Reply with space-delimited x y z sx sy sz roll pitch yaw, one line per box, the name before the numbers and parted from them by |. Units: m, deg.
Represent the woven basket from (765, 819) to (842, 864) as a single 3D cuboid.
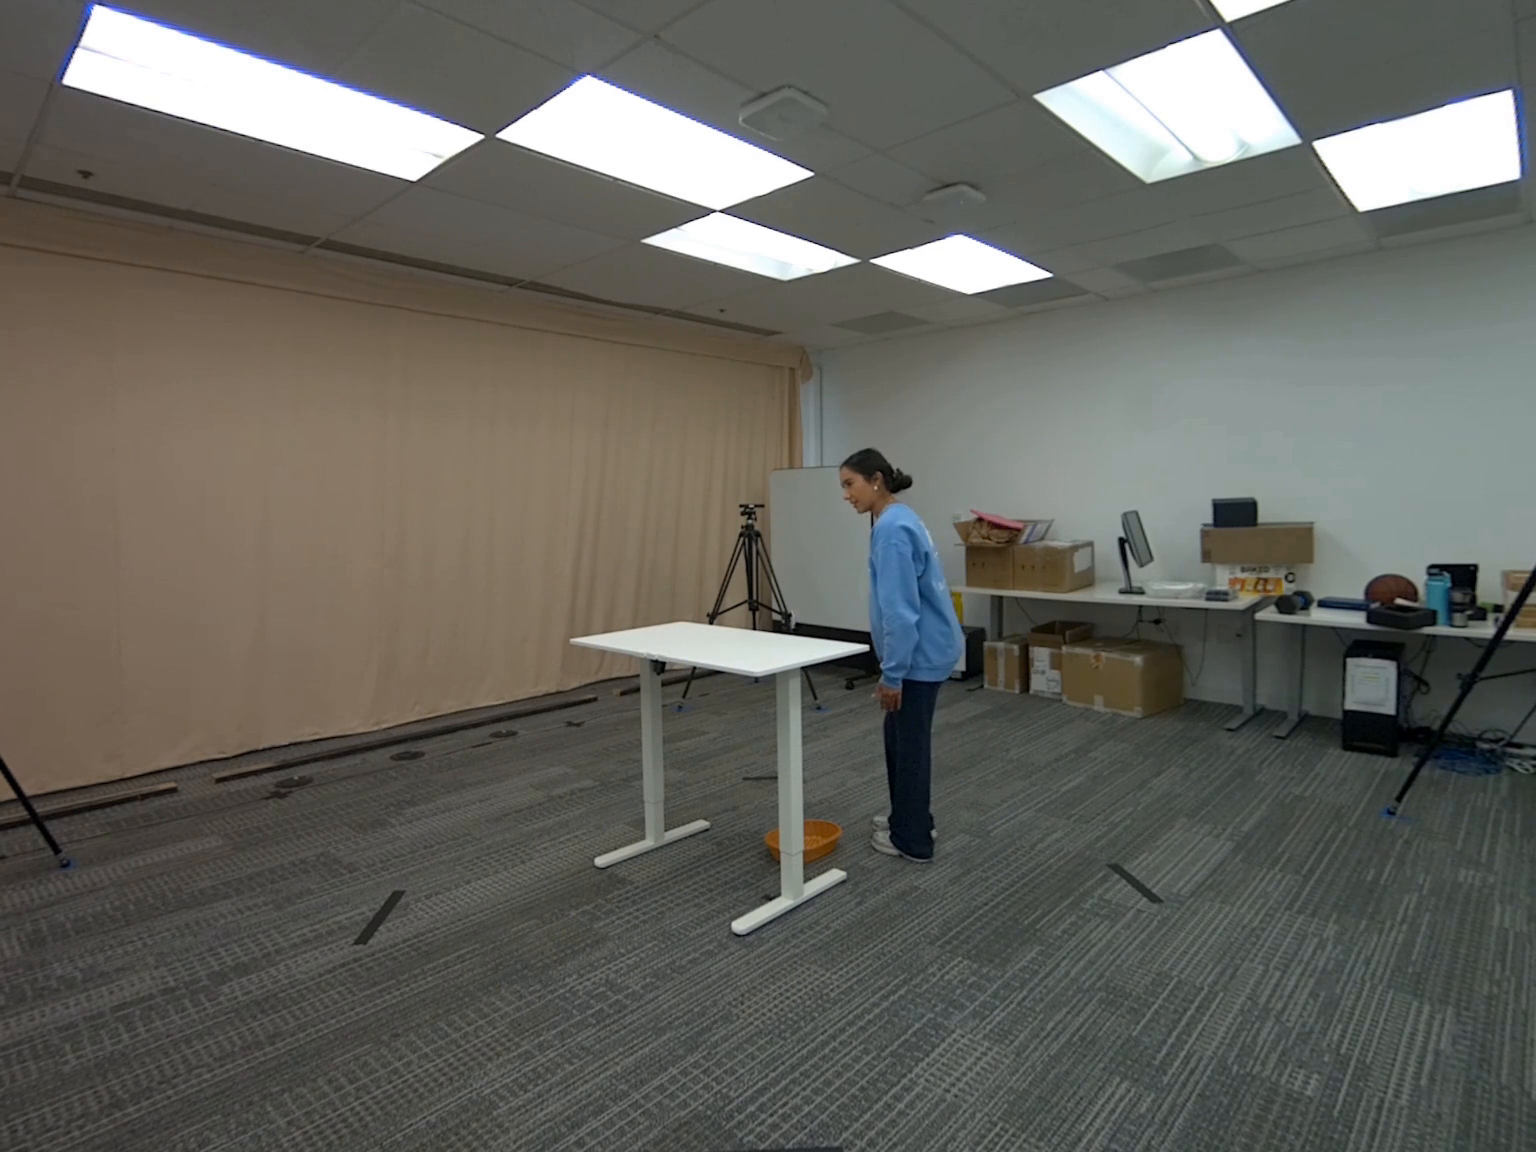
woven basket | 0.140 1.063 3.369 0.340 0.073 0.261 -6 6 -43
